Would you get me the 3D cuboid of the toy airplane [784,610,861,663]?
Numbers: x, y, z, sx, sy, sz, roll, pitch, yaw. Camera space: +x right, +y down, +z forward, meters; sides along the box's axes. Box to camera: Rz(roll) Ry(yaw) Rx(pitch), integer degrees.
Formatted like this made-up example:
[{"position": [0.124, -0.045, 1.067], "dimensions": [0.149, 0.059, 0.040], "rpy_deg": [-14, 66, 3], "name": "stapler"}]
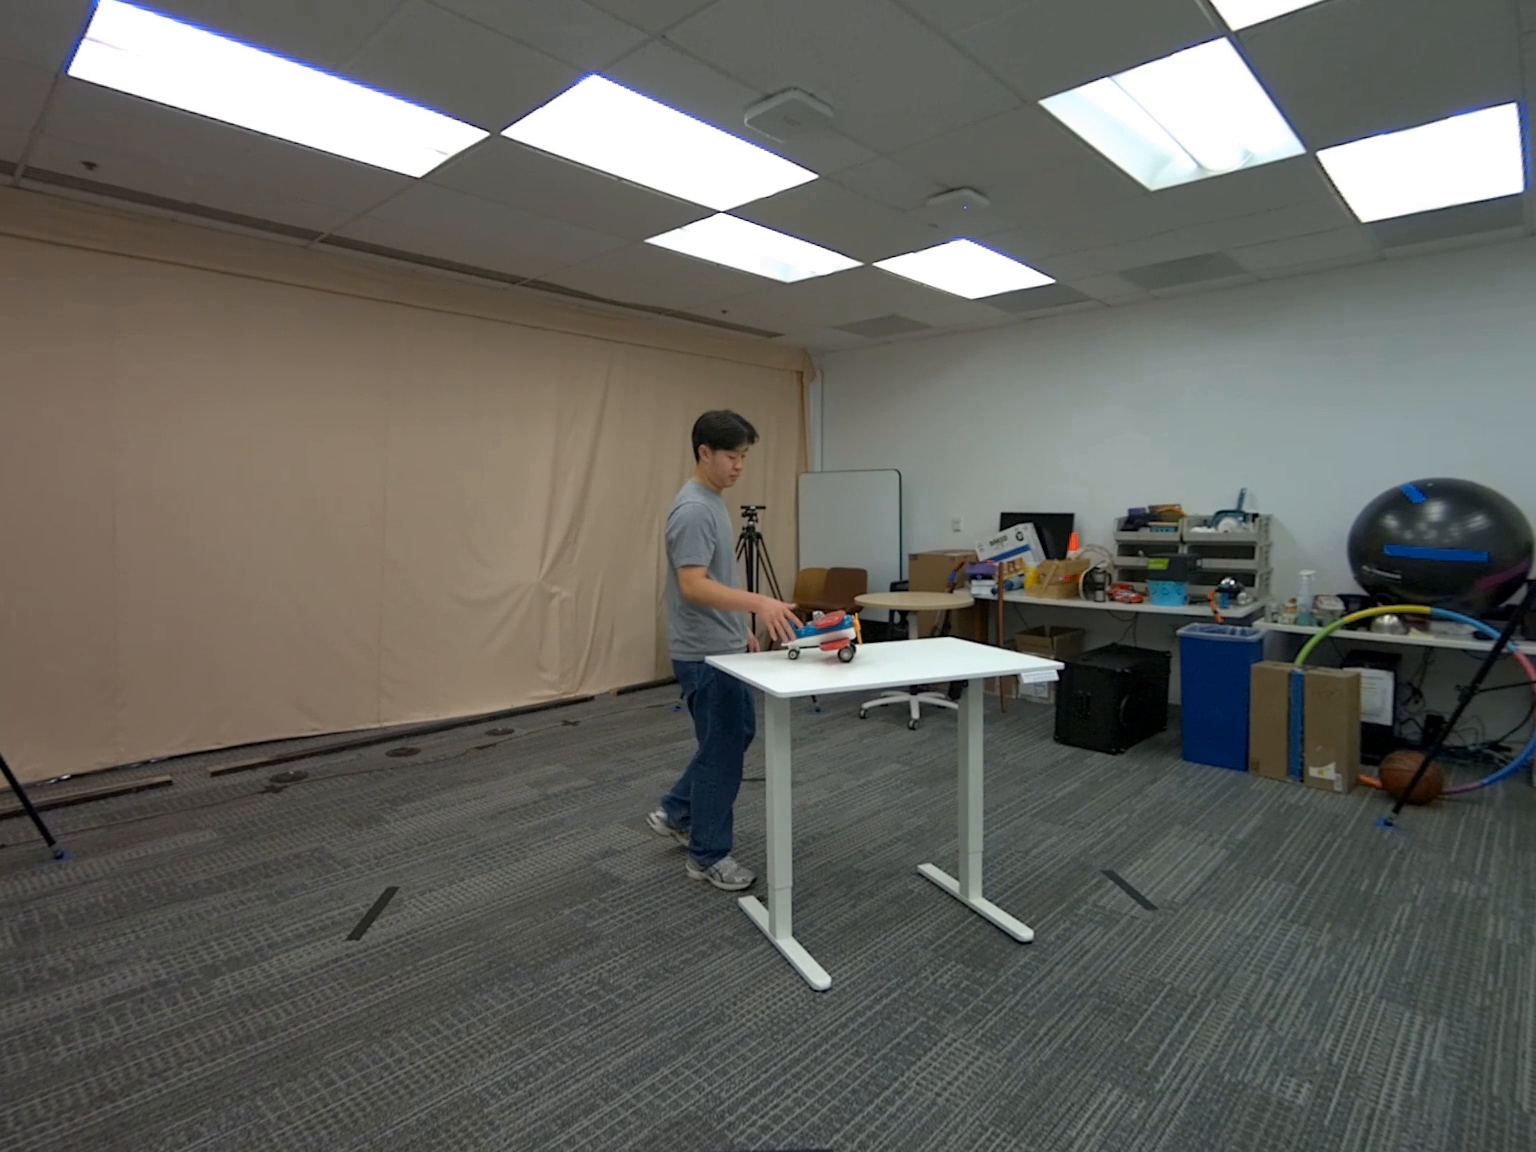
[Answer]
[{"position": [0.182, 0.201, 2.768], "dimensions": [0.254, 0.156, 0.256], "rpy_deg": [-1, 4, -18], "name": "toy airplane"}]
